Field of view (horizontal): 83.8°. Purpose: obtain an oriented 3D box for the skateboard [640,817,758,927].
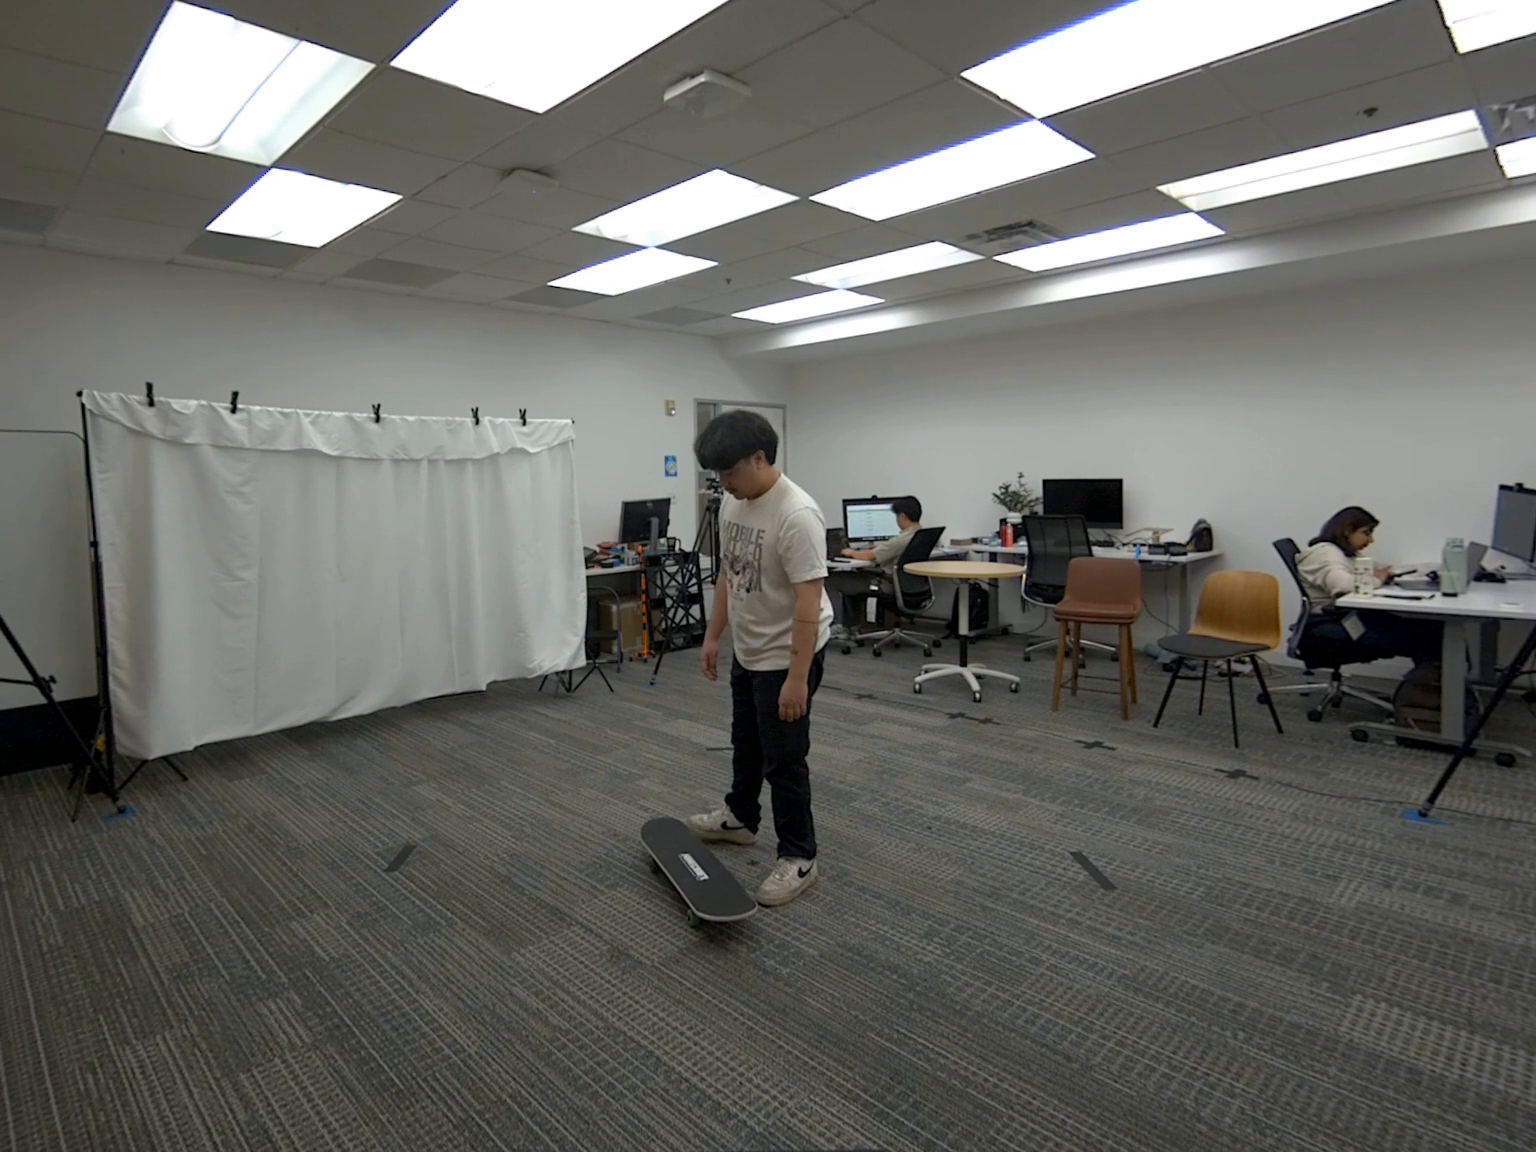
[{"bbox_3d":[-0.245,1.017,2.886,0.190,0.110,0.805,-4,7,-24],"label":"skateboard"}]
